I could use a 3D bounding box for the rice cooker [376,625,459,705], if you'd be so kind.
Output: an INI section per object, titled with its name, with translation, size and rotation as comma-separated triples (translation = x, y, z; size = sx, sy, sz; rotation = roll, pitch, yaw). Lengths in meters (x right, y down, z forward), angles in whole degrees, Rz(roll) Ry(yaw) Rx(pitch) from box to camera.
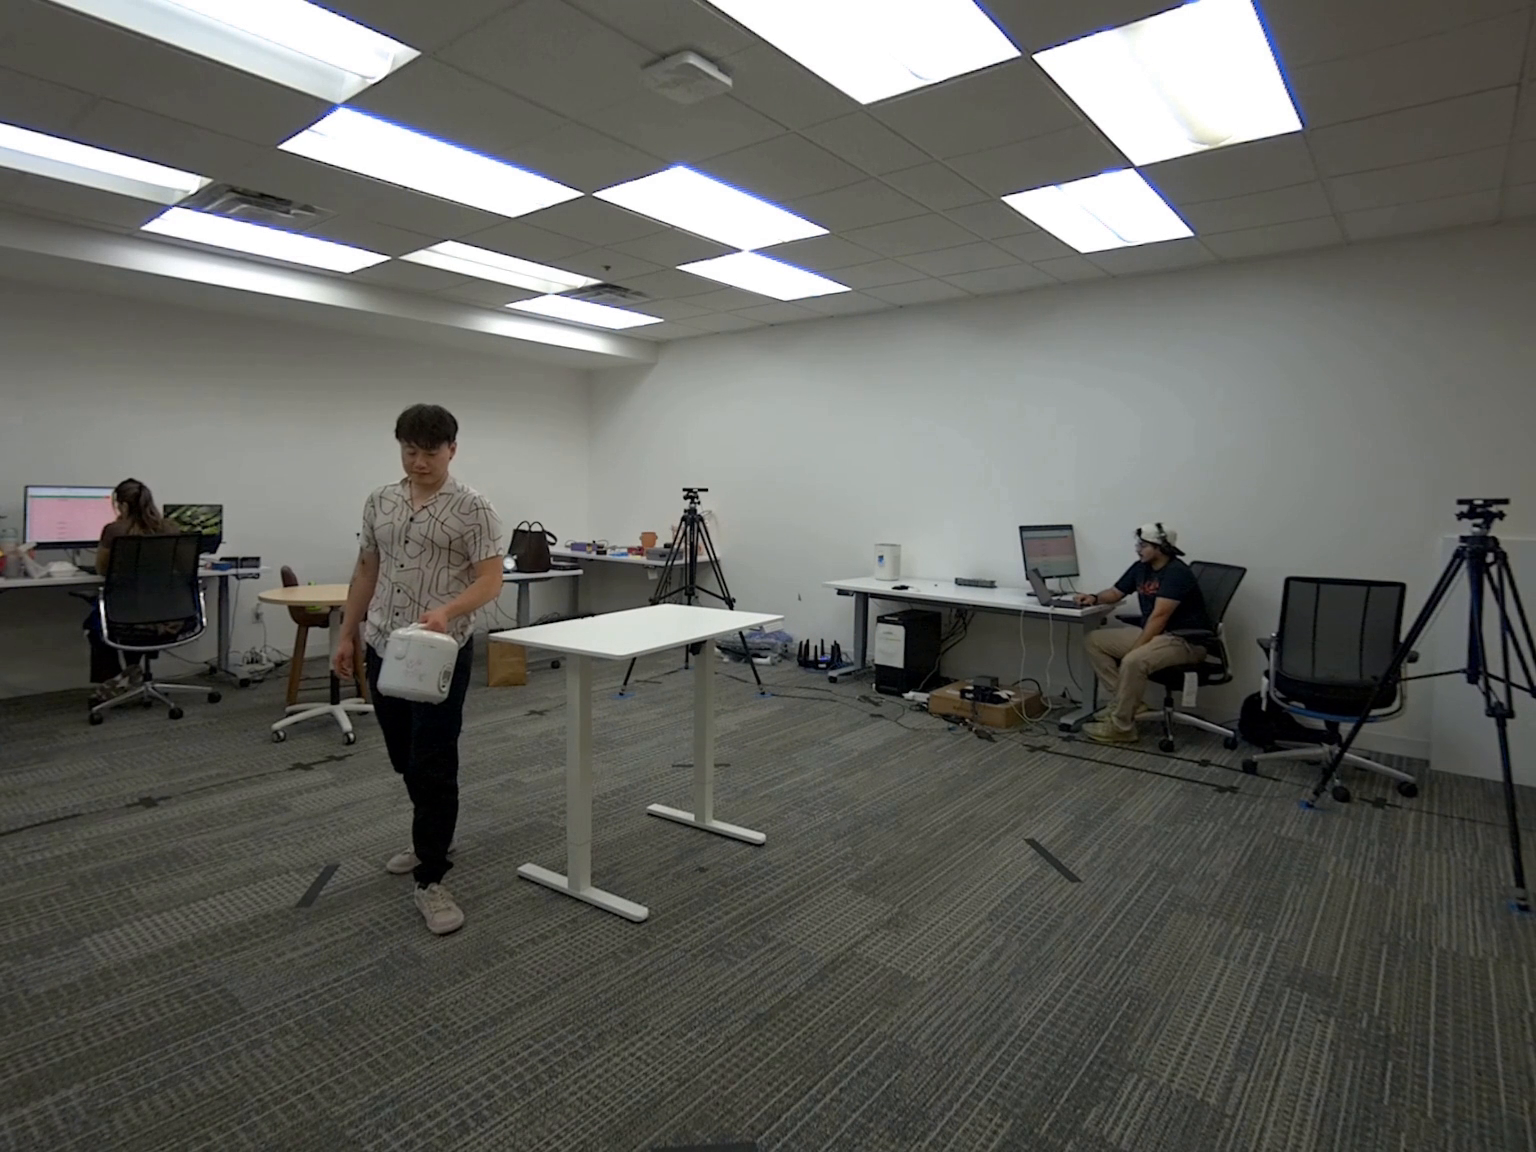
[rice cooker]
translation = -1.083, 0.255, 2.618
size = 0.222, 0.235, 0.214
rotation = 6, -14, 18
